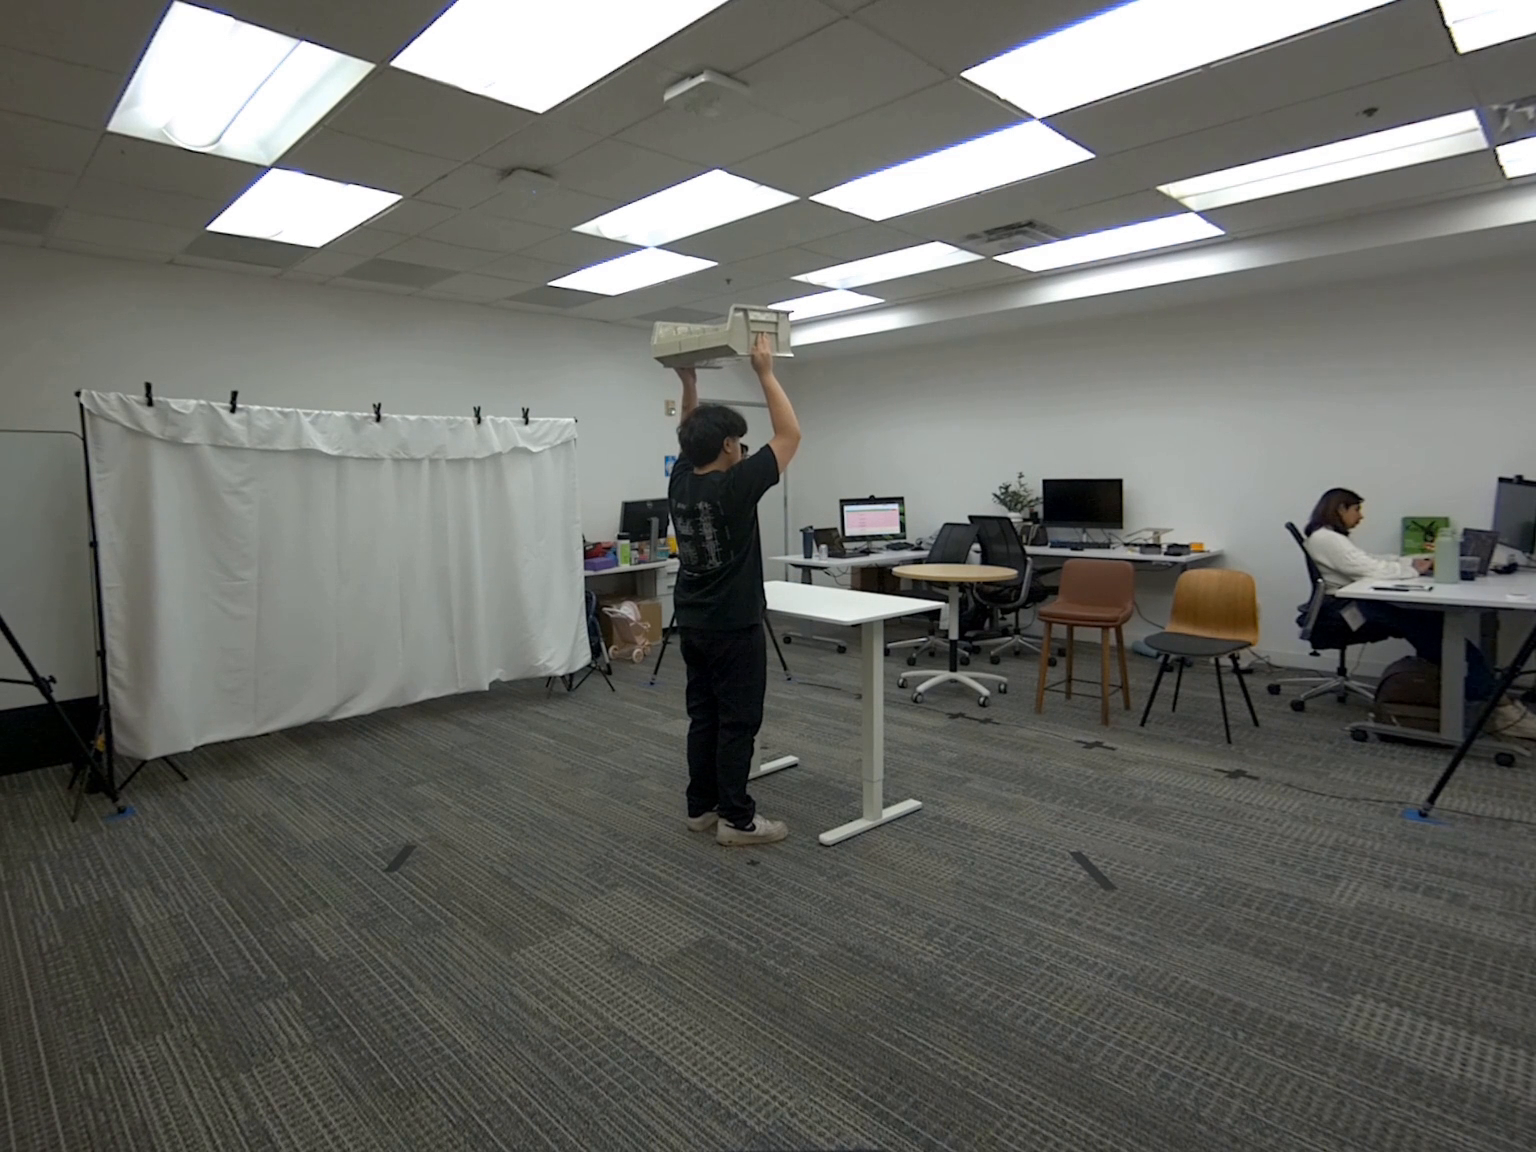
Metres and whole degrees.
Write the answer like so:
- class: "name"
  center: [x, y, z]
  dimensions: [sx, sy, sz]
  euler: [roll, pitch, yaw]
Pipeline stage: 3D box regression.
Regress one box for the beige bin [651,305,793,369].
- class: "beige bin"
  center: [-0.174, -0.912, 3.293]
  dimensions: [0.435, 0.188, 0.368]
  euler: [4, 11, 43]
